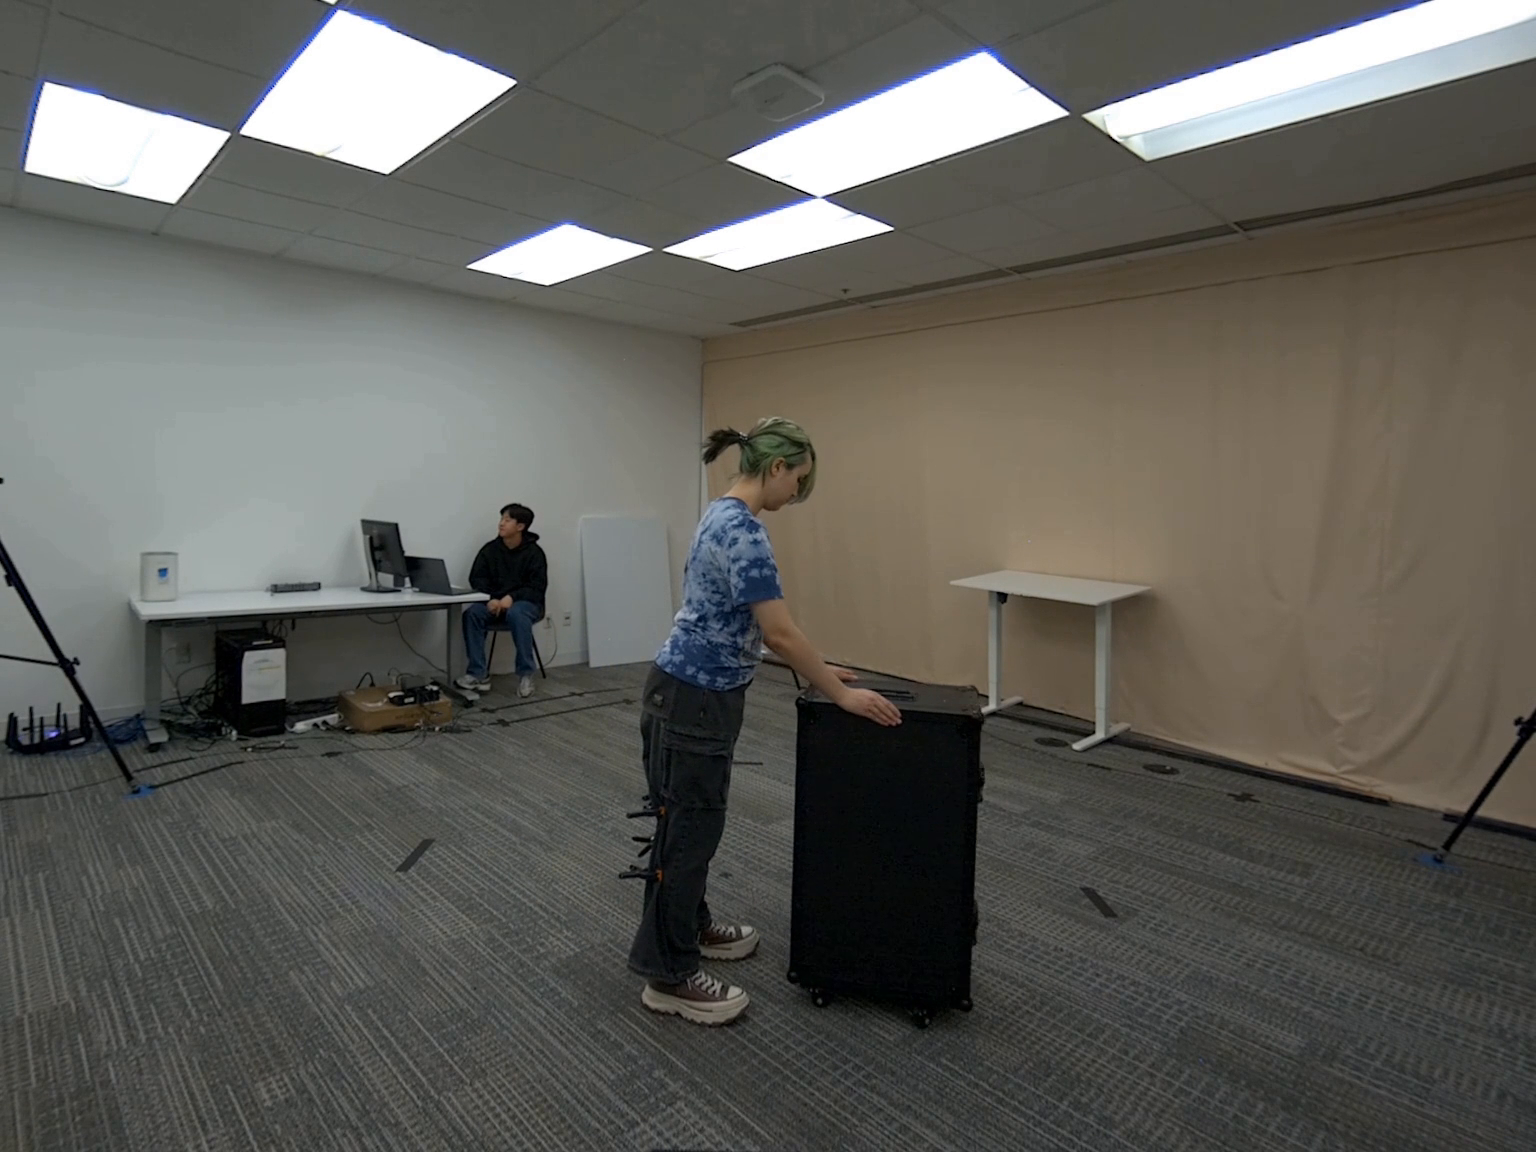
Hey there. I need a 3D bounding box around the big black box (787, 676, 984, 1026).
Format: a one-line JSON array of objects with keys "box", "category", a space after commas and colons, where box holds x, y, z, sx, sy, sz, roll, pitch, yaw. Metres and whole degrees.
[{"box": [0.319, 0.758, 2.406, 0.527, 0.860, 0.392, 2, 2, 14], "category": "big black box"}]
